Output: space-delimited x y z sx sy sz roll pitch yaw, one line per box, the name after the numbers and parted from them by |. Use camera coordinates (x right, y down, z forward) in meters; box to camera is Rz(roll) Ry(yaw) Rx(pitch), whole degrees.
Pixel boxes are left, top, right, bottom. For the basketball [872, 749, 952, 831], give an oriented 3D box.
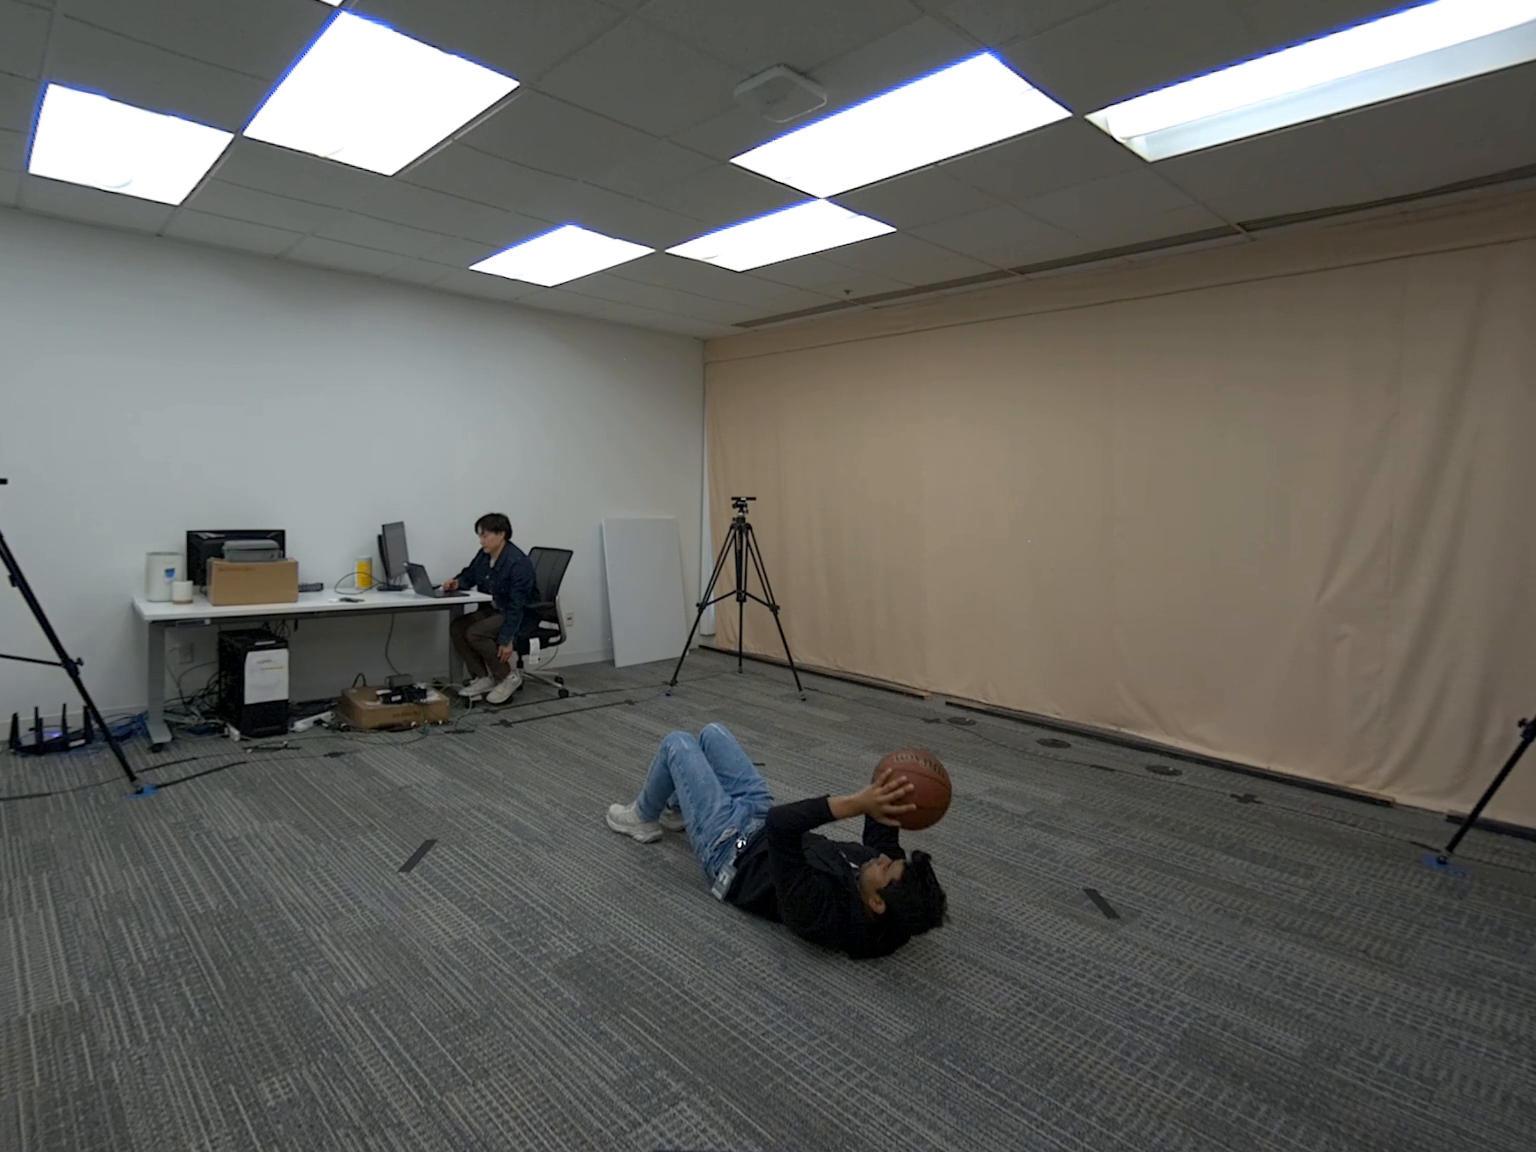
0.420 0.647 2.533 0.236 0.235 0.237 1 4 -1 | basketball
